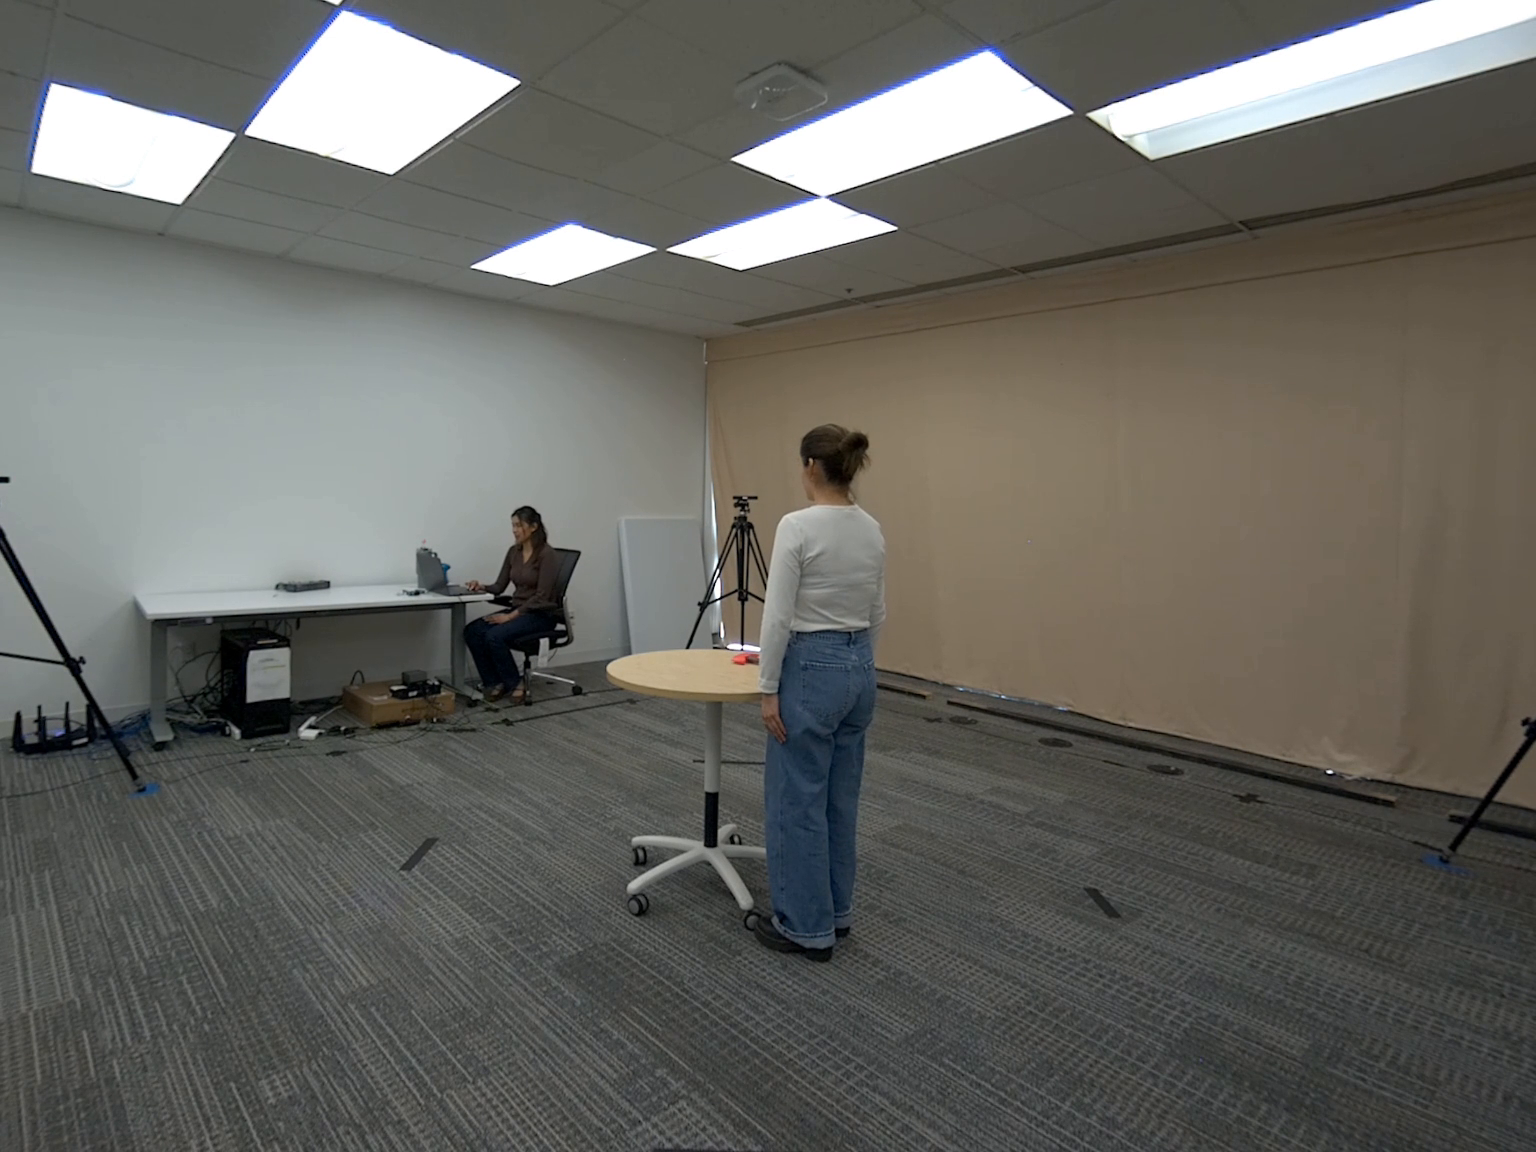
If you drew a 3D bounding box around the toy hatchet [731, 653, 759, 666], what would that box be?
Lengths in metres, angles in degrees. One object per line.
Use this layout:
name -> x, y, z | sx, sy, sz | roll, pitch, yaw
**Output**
toy hatchet -> -0.051, 0.320, 3.040 | 0.129, 0.029, 0.276 | -1, 8, -24
